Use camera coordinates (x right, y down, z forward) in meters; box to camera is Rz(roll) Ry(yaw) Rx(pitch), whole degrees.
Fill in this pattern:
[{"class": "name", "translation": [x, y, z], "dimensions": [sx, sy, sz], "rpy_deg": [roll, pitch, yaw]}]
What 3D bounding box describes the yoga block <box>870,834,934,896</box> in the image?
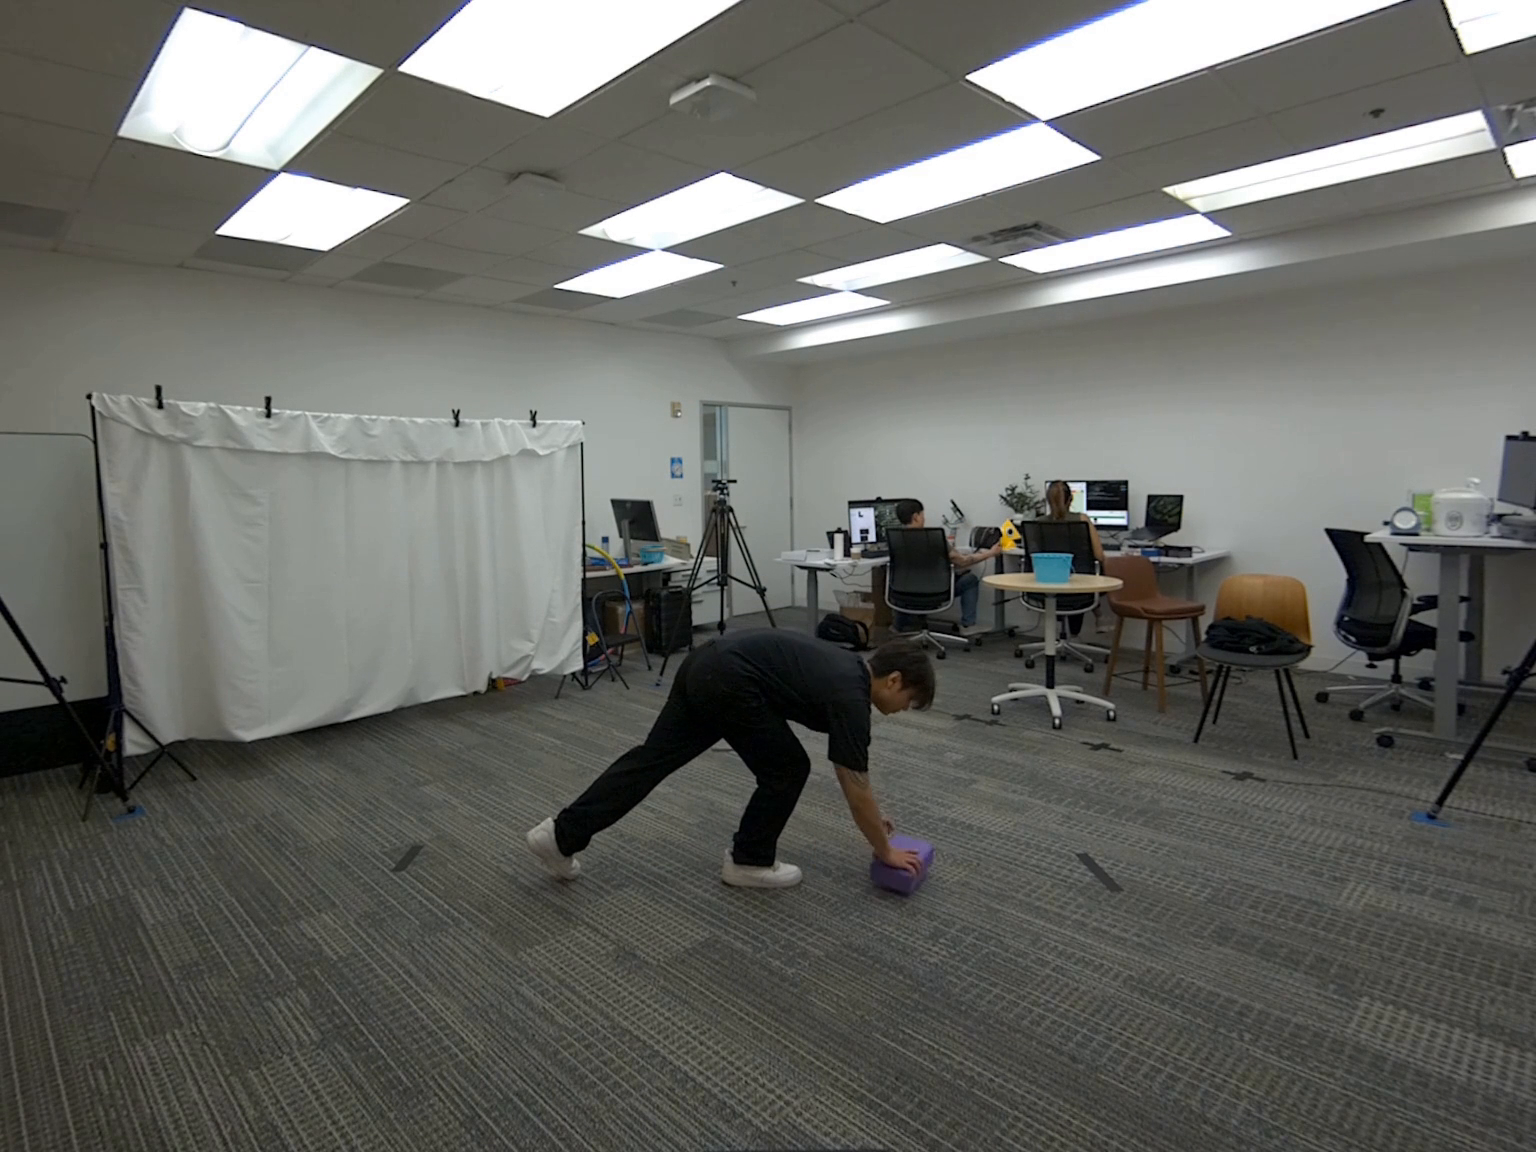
[{"class": "yoga block", "translation": [0.459, 0.987, 2.934], "dimensions": [0.153, 0.076, 0.225], "rpy_deg": [7, 13, 33]}]
